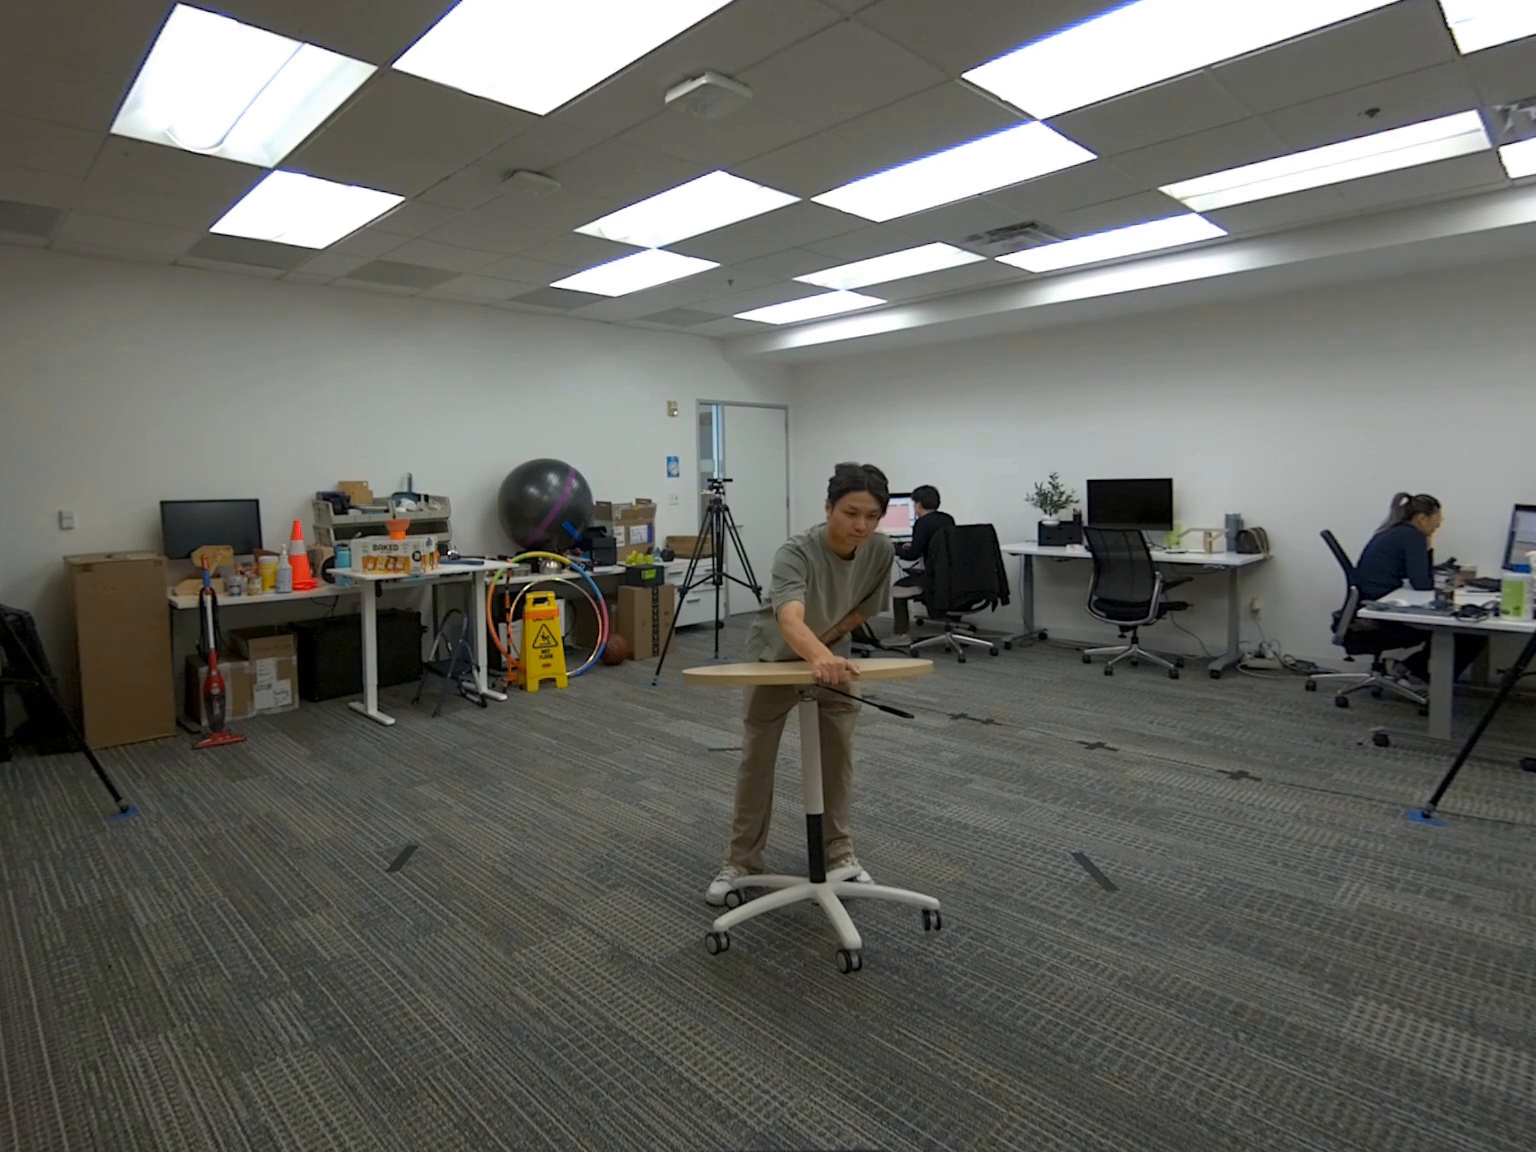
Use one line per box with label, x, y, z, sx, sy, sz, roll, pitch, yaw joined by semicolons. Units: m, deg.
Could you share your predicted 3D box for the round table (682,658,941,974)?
round table;0.153;0.669;2.573;0.784;0.790;0.783;-2;-4;-2
